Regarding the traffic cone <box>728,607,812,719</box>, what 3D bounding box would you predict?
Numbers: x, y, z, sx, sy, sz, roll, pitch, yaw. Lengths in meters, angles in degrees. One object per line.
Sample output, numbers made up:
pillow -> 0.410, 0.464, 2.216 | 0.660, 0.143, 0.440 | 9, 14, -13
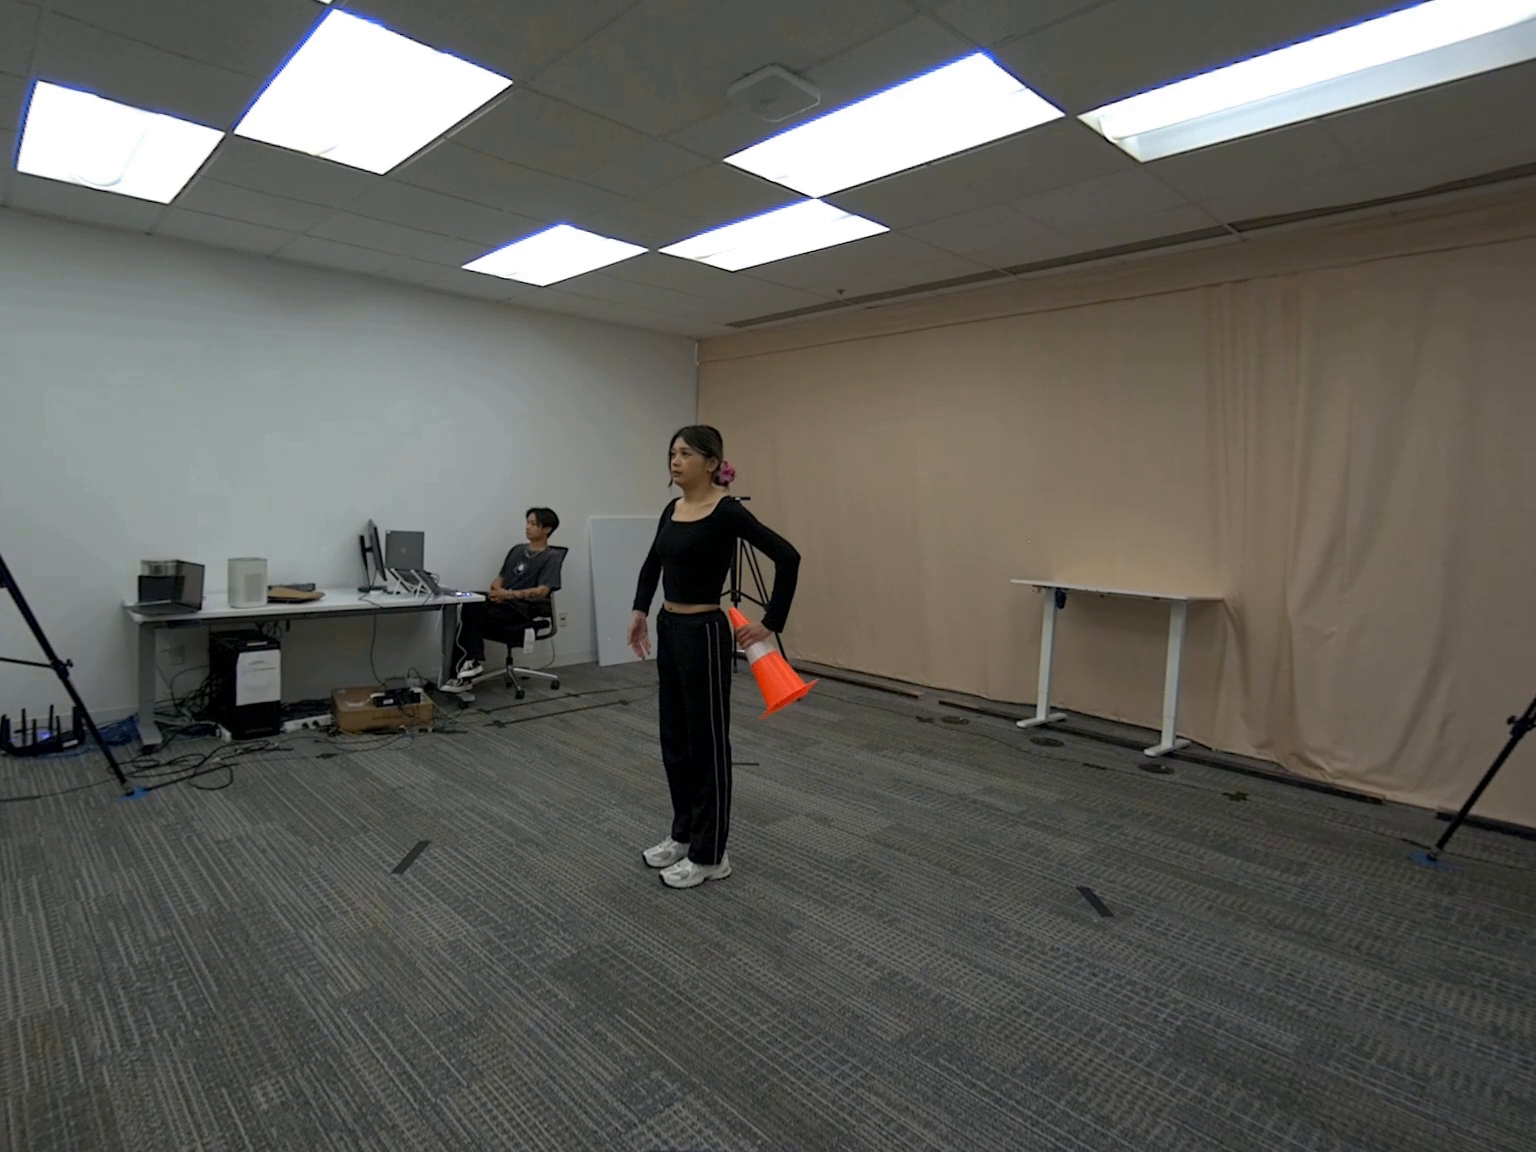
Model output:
traffic cone -> -0.036, 0.273, 2.959 | 0.201, 0.391, 0.203 | -23, -19, -23
